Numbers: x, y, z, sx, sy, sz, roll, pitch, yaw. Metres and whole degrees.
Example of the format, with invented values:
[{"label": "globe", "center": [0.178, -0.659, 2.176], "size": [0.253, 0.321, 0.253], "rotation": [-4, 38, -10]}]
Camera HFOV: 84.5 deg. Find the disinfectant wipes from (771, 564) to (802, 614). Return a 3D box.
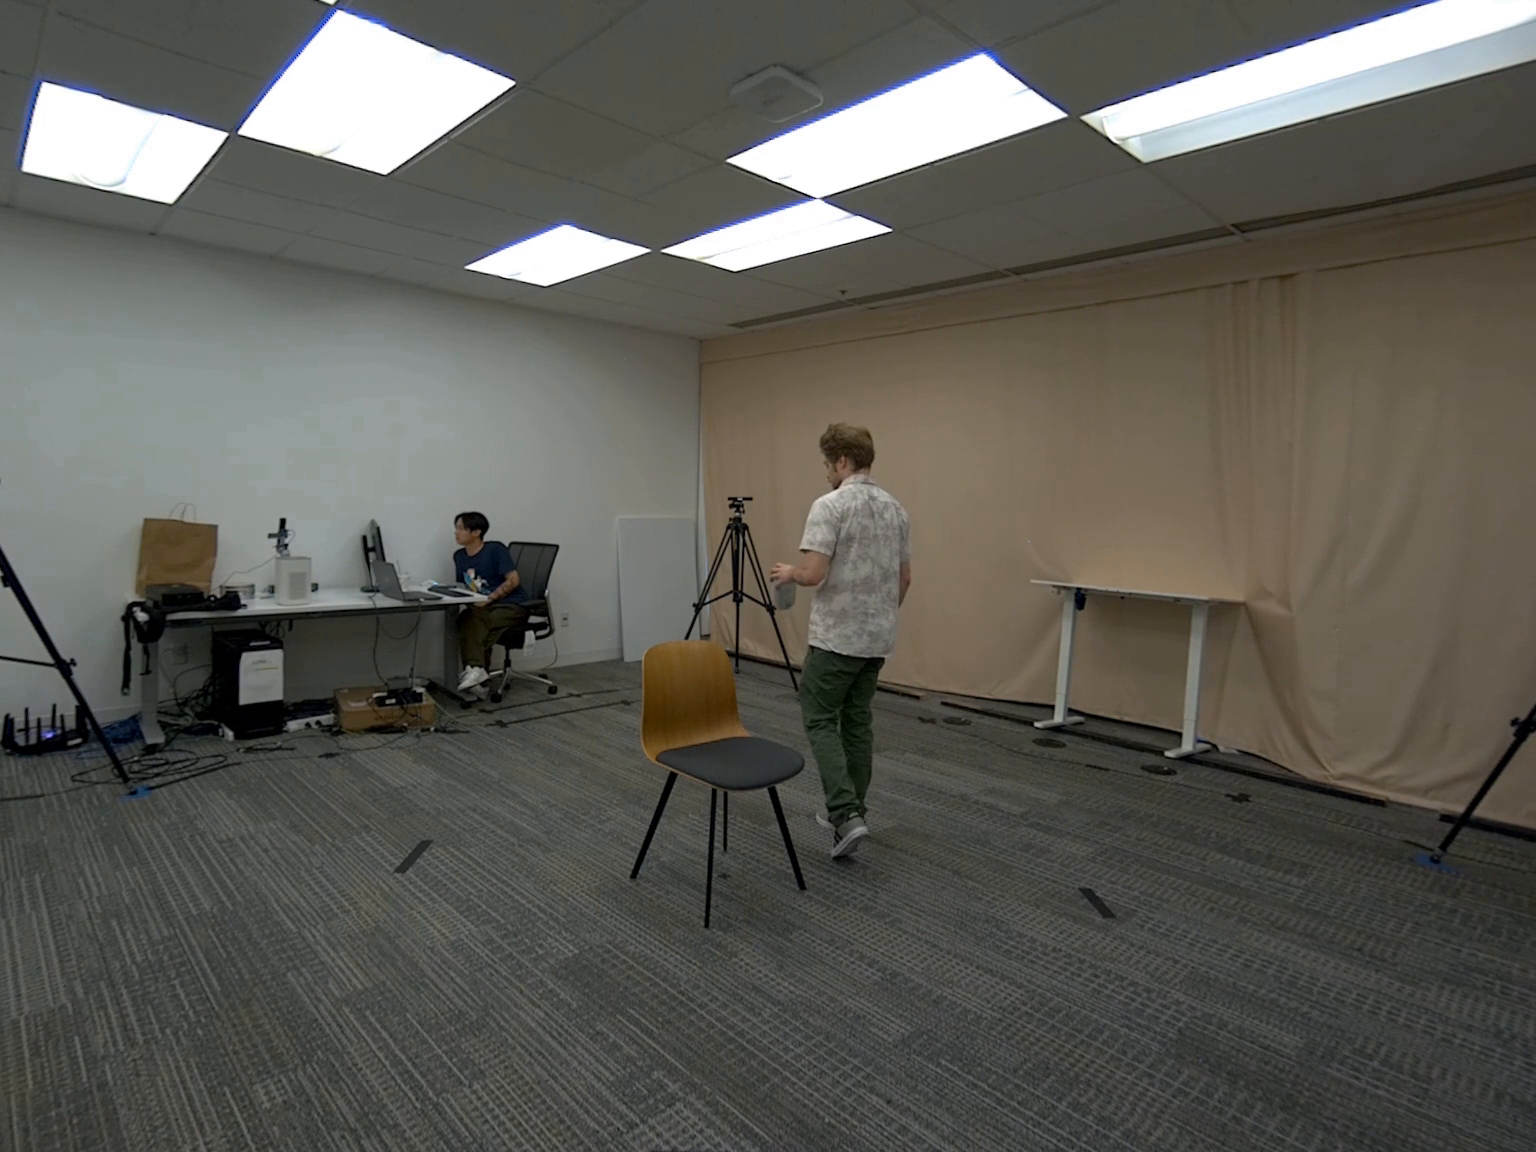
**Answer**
[{"label": "disinfectant wipes", "center": [0.076, 0.057, 3.668], "size": [0.118, 0.120, 0.213], "rotation": [2, -32, 0]}]
